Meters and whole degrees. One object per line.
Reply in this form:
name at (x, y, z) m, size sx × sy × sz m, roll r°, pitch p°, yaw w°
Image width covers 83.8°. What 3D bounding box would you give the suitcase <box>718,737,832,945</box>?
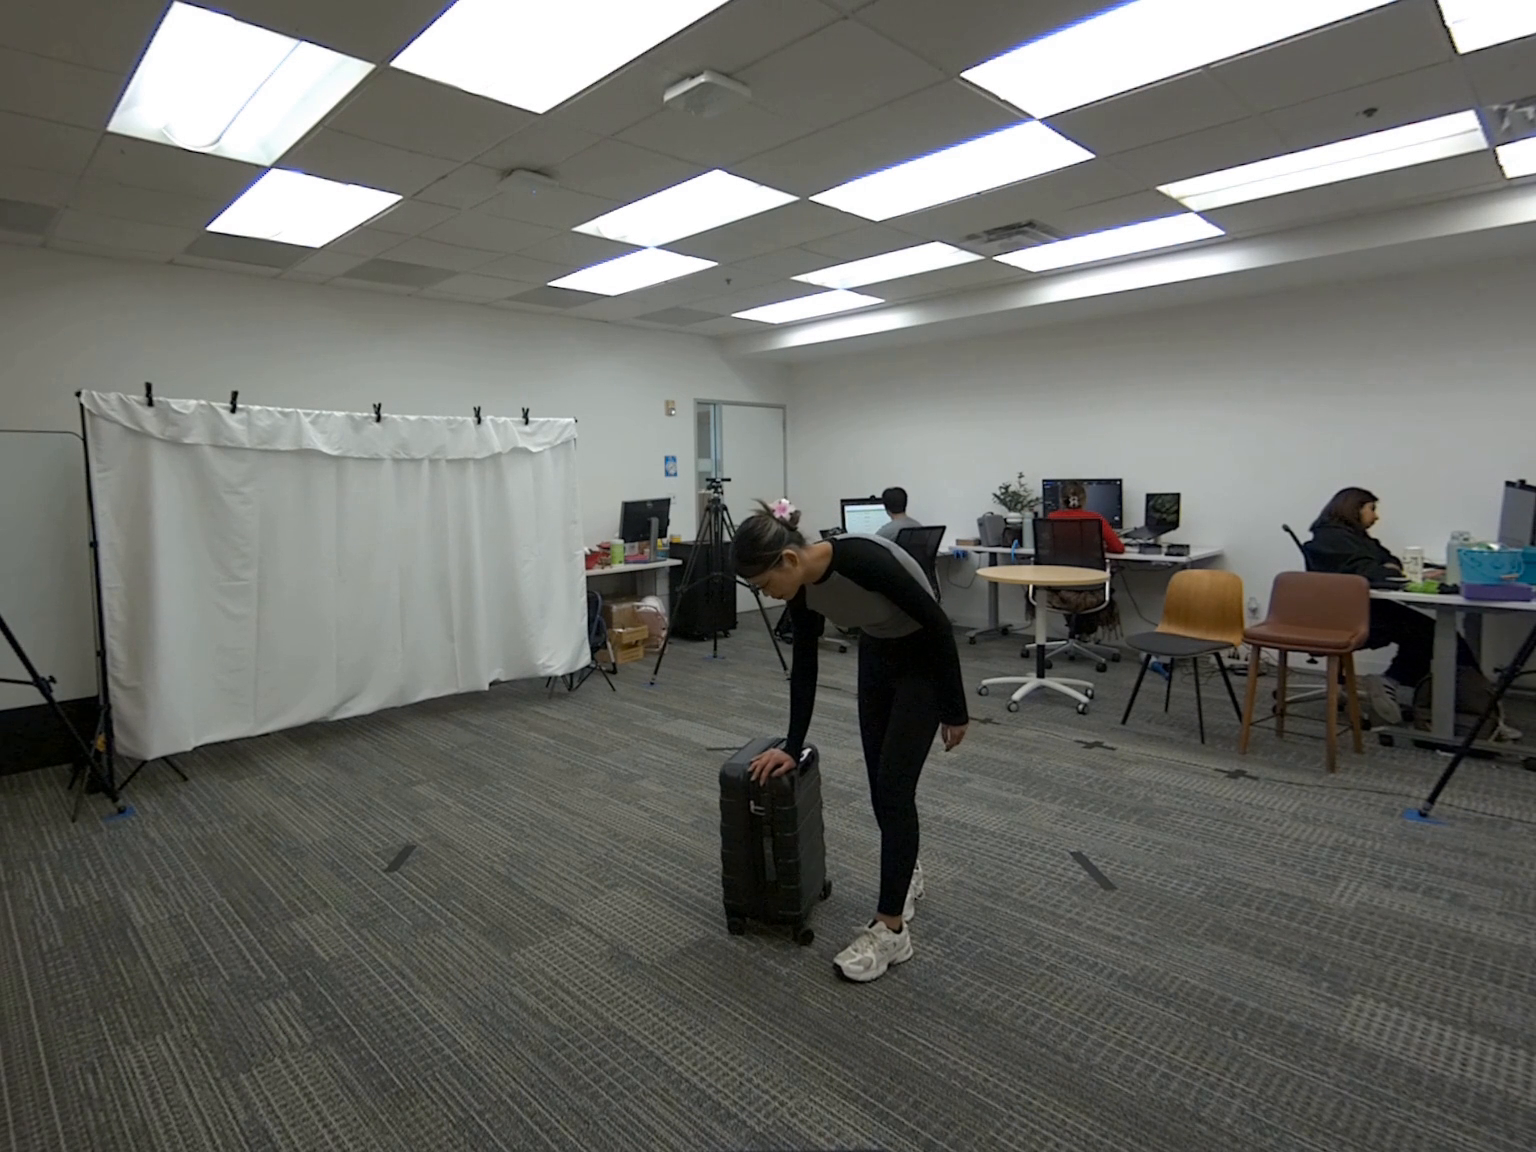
suitcase at (0.022, 0.810, 2.718) m, size 0.253 × 0.547 × 0.370 m, roll -2°, pitch 5°, yaw 21°
